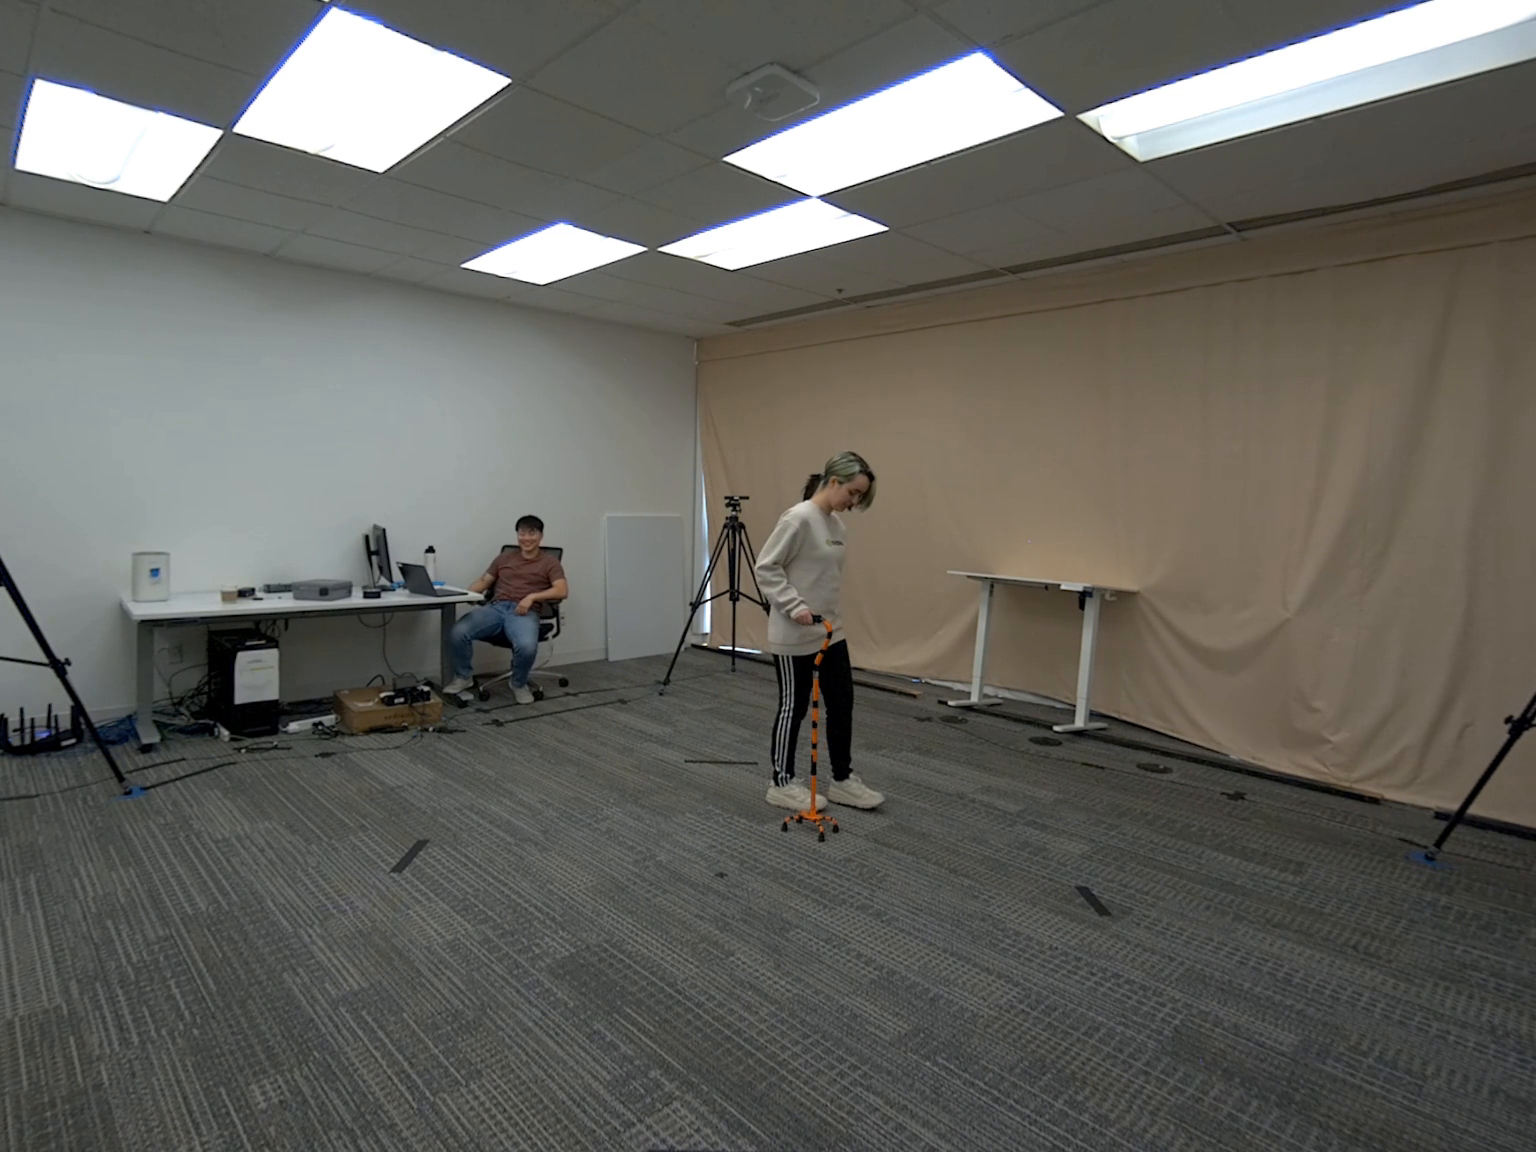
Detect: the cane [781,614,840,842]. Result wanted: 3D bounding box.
[{"bbox_3d":[0.173,0.622,3.516,0.211,0.905,0.148,4,4,32],"label":"cane"}]
